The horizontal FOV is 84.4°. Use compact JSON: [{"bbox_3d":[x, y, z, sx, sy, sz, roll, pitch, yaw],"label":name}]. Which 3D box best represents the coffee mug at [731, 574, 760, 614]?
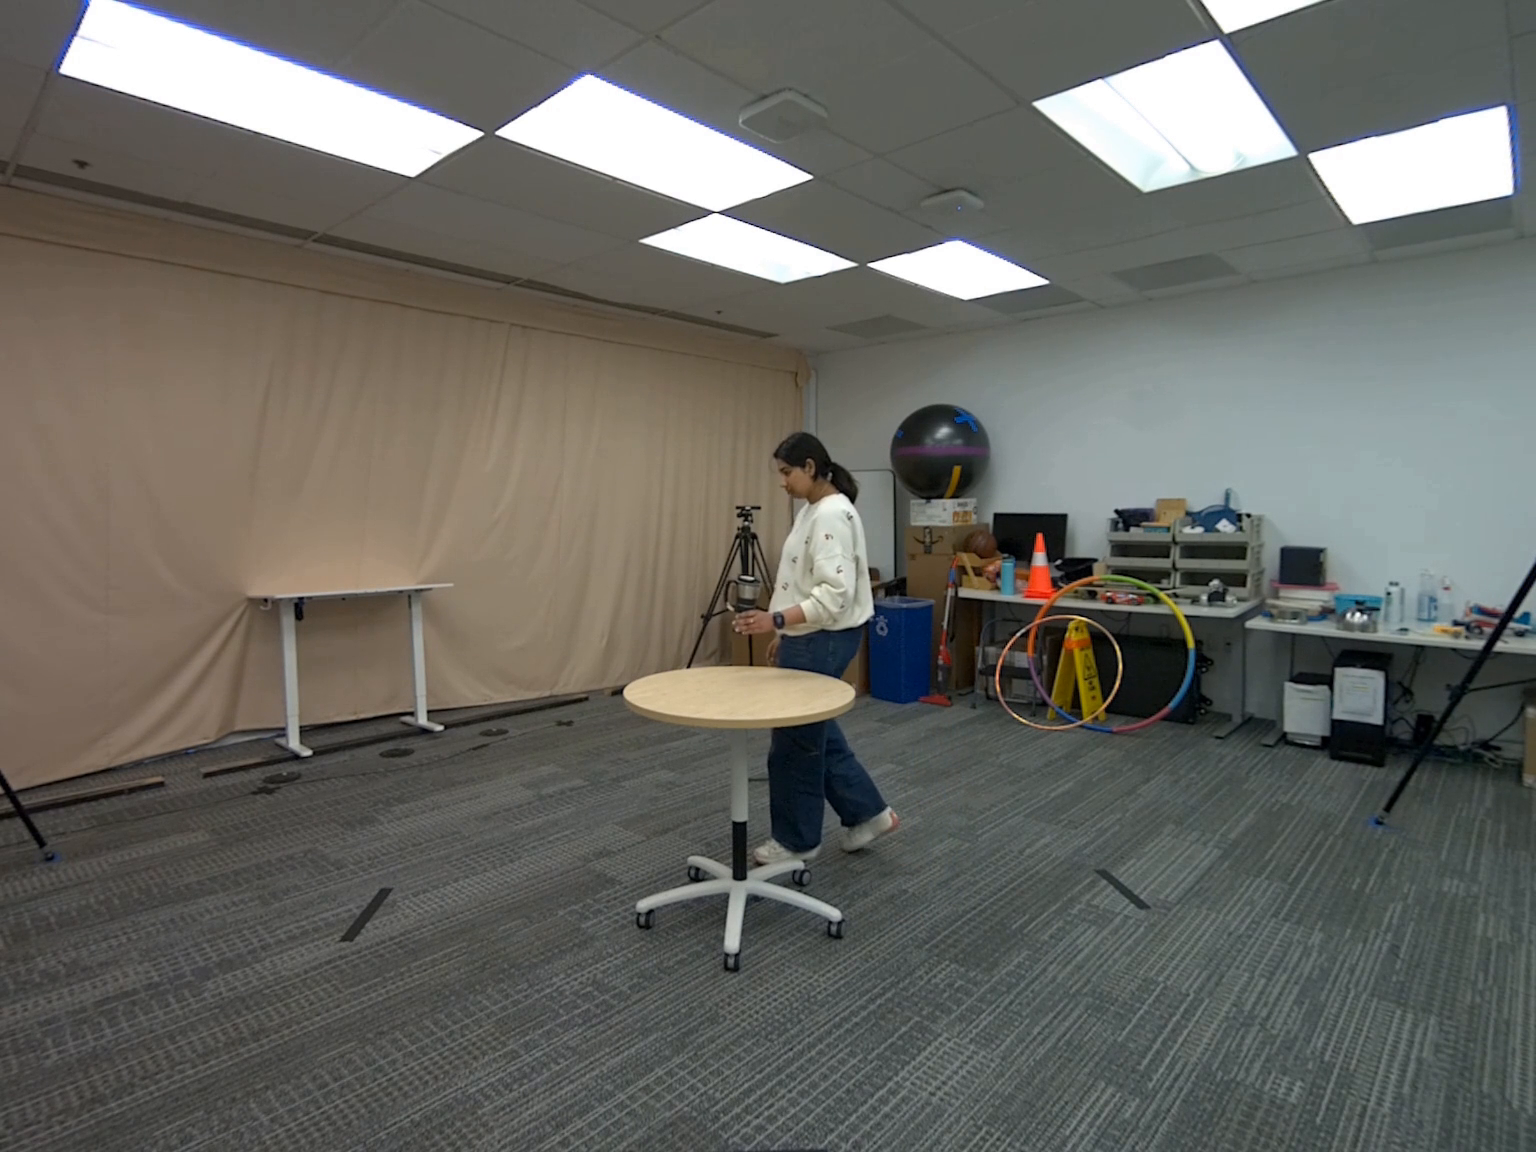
[{"bbox_3d":[-0.089,0.102,3.017,0.125,0.202,0.086,13,11,26],"label":"coffee mug"}]
